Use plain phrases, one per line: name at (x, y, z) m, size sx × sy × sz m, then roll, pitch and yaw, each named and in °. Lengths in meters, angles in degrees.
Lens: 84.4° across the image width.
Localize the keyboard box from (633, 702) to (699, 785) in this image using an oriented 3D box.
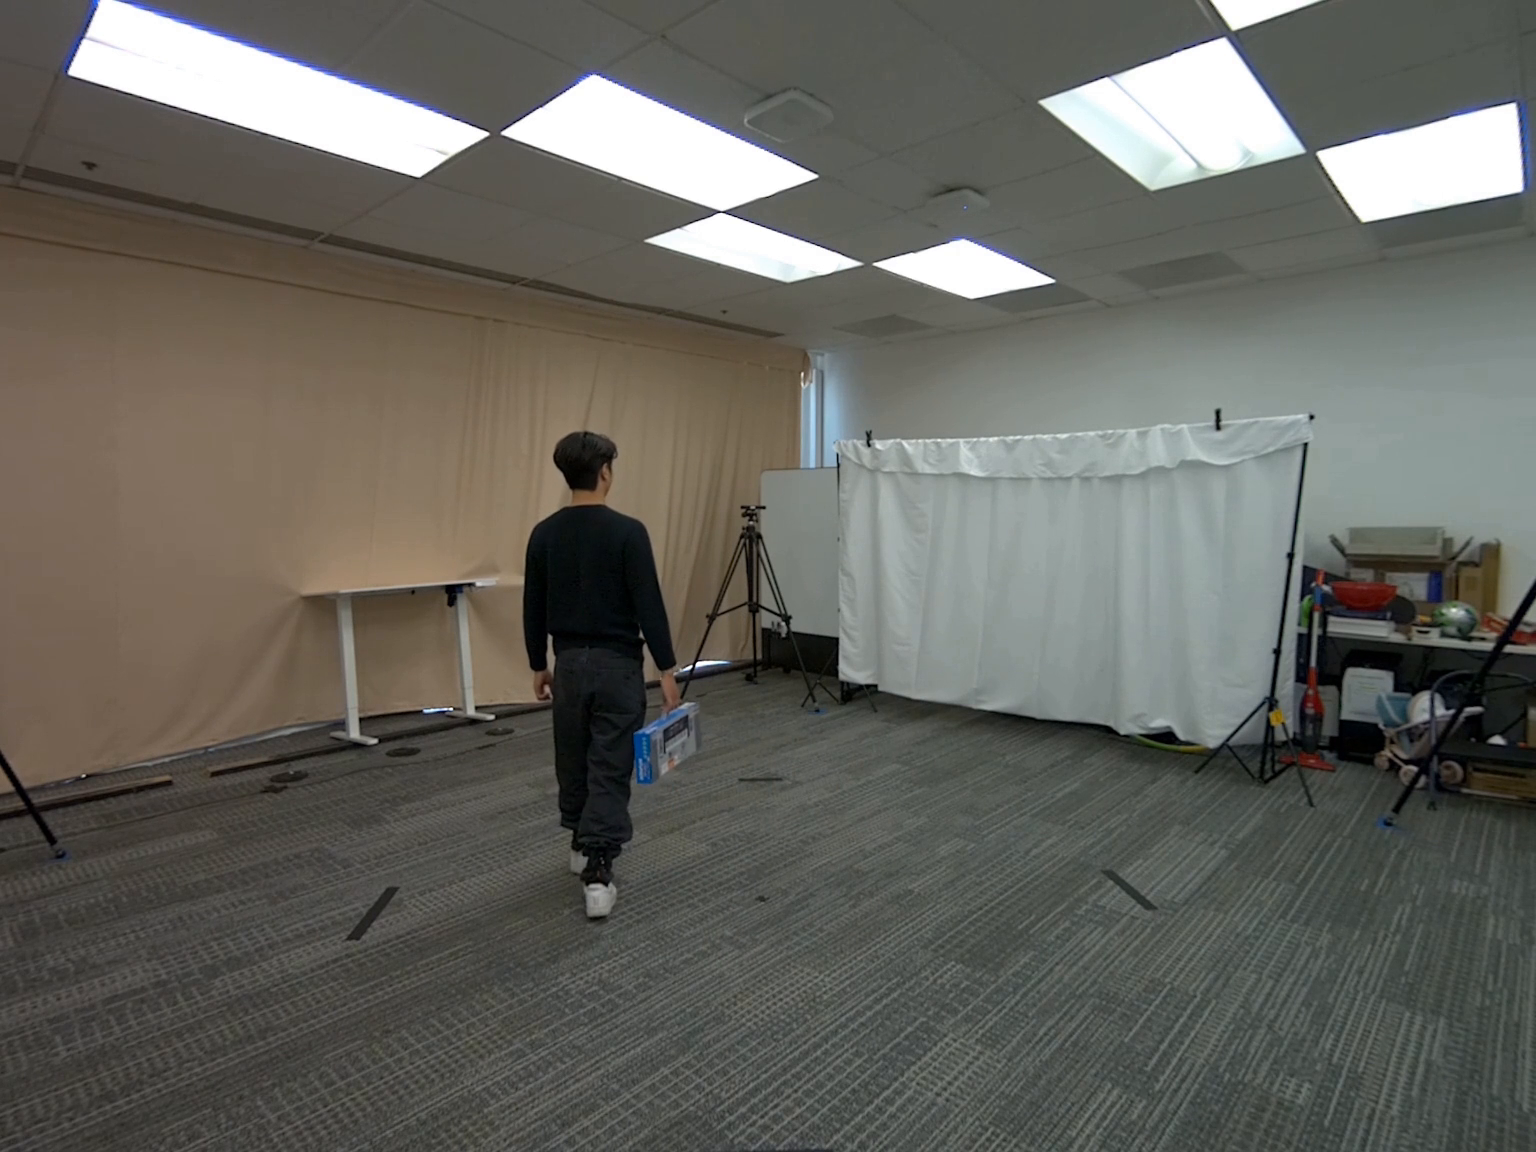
keyboard box at (-0.350, 0.586, 3.023) m, size 0.060 × 0.175 × 0.429 m, roll -1°, pitch 5°, yaw 19°
